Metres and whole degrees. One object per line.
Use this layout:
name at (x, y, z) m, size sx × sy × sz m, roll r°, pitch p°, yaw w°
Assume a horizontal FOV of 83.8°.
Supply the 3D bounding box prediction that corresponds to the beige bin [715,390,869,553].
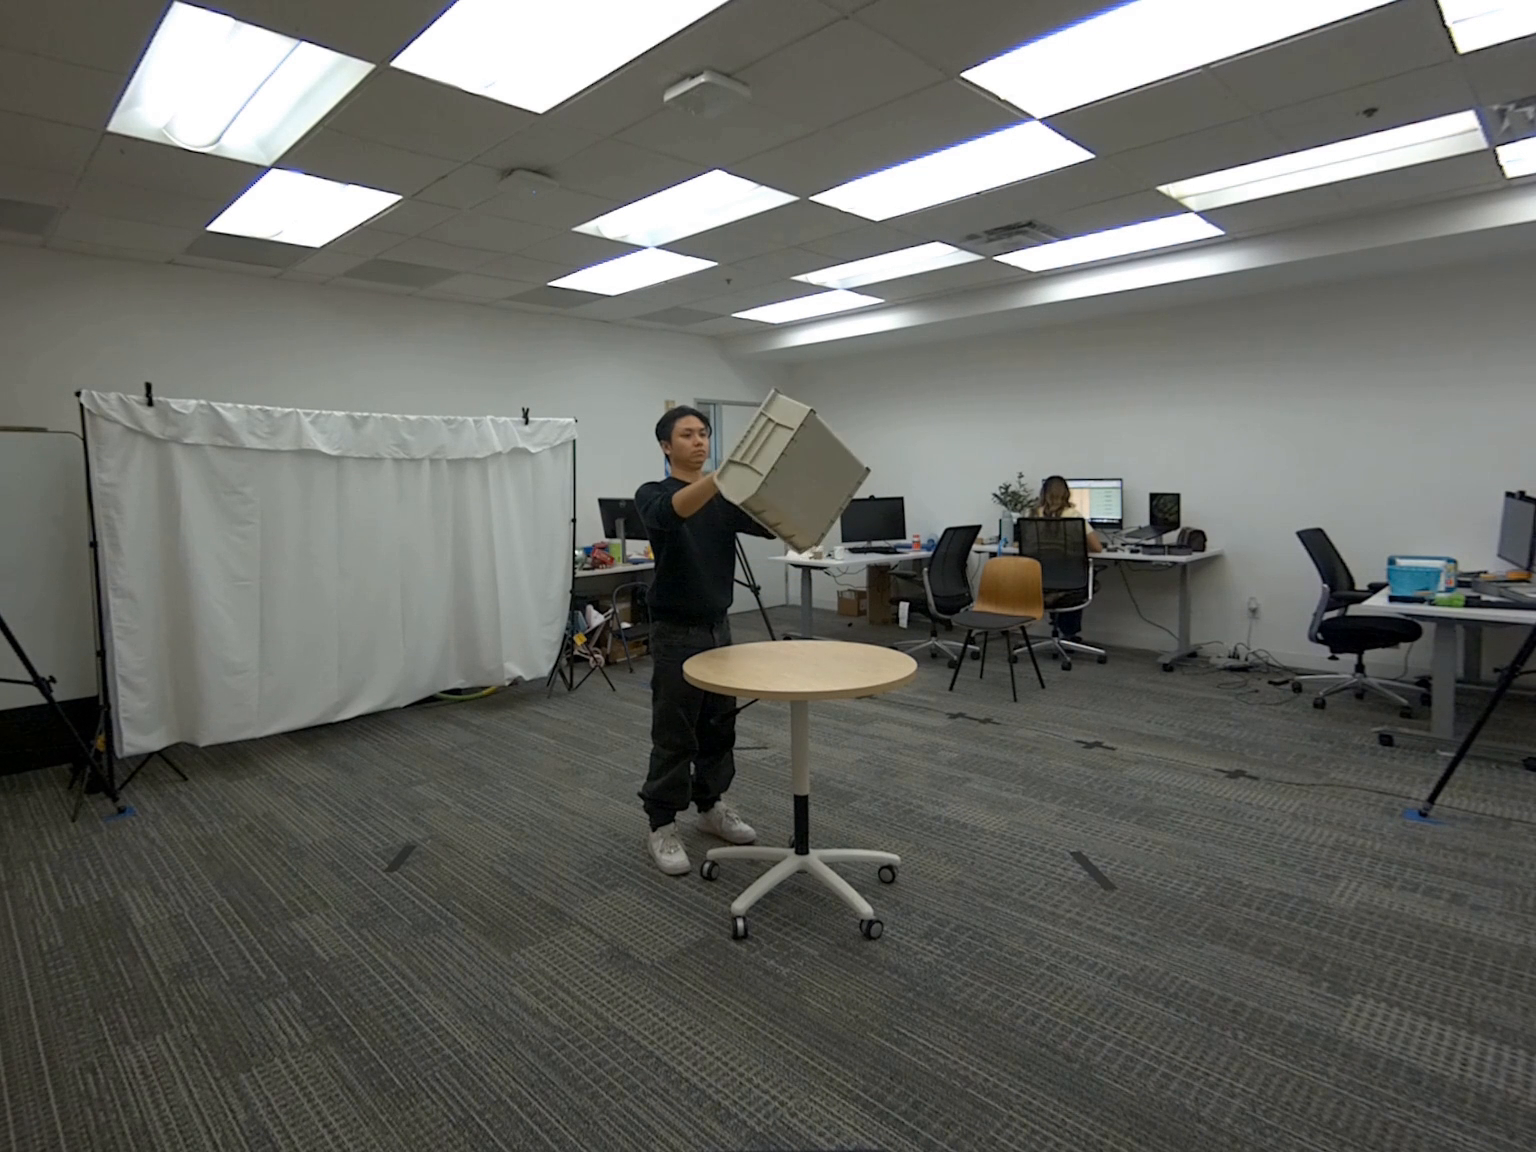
beige bin at (0.078, -0.315, 2.728) m, size 0.196 × 0.377 × 0.406 m, roll 34°, pitch -1°, yaw 41°
